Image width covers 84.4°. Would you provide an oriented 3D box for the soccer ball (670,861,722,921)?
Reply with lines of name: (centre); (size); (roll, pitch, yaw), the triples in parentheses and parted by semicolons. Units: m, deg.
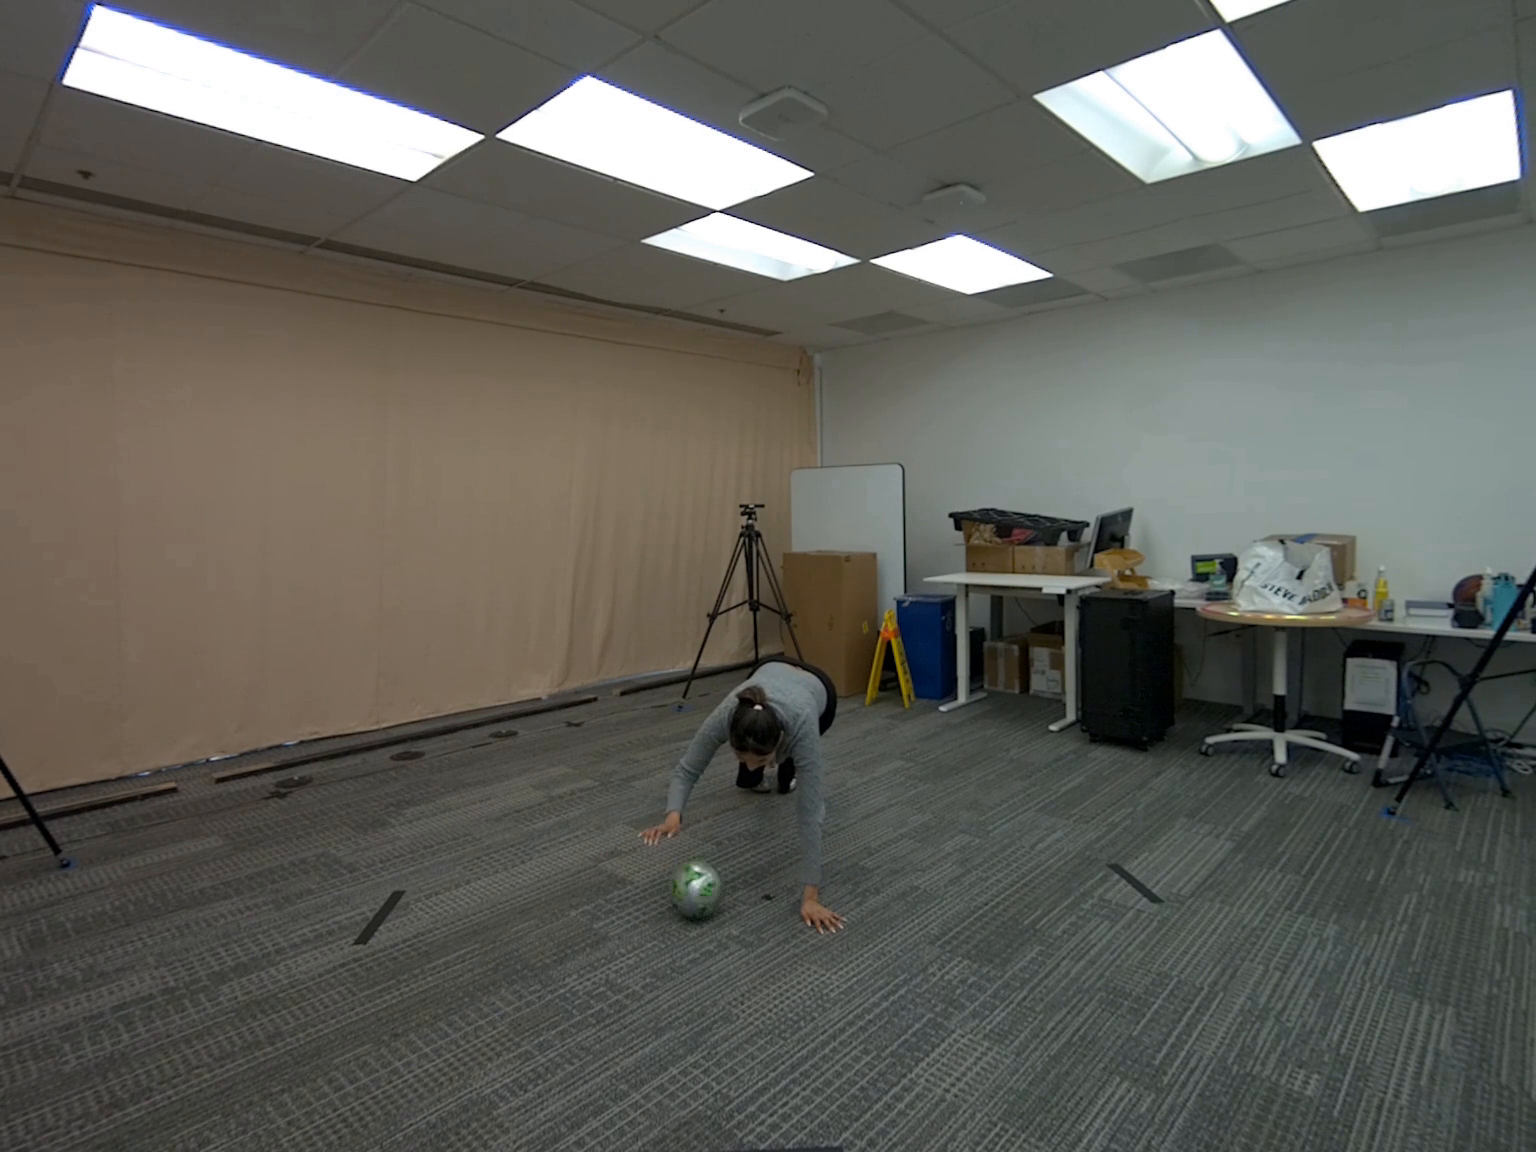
soccer ball: (-0.245, 1.057, 2.855); (0.187, 0.187, 0.188); (-1, 4, -2)
